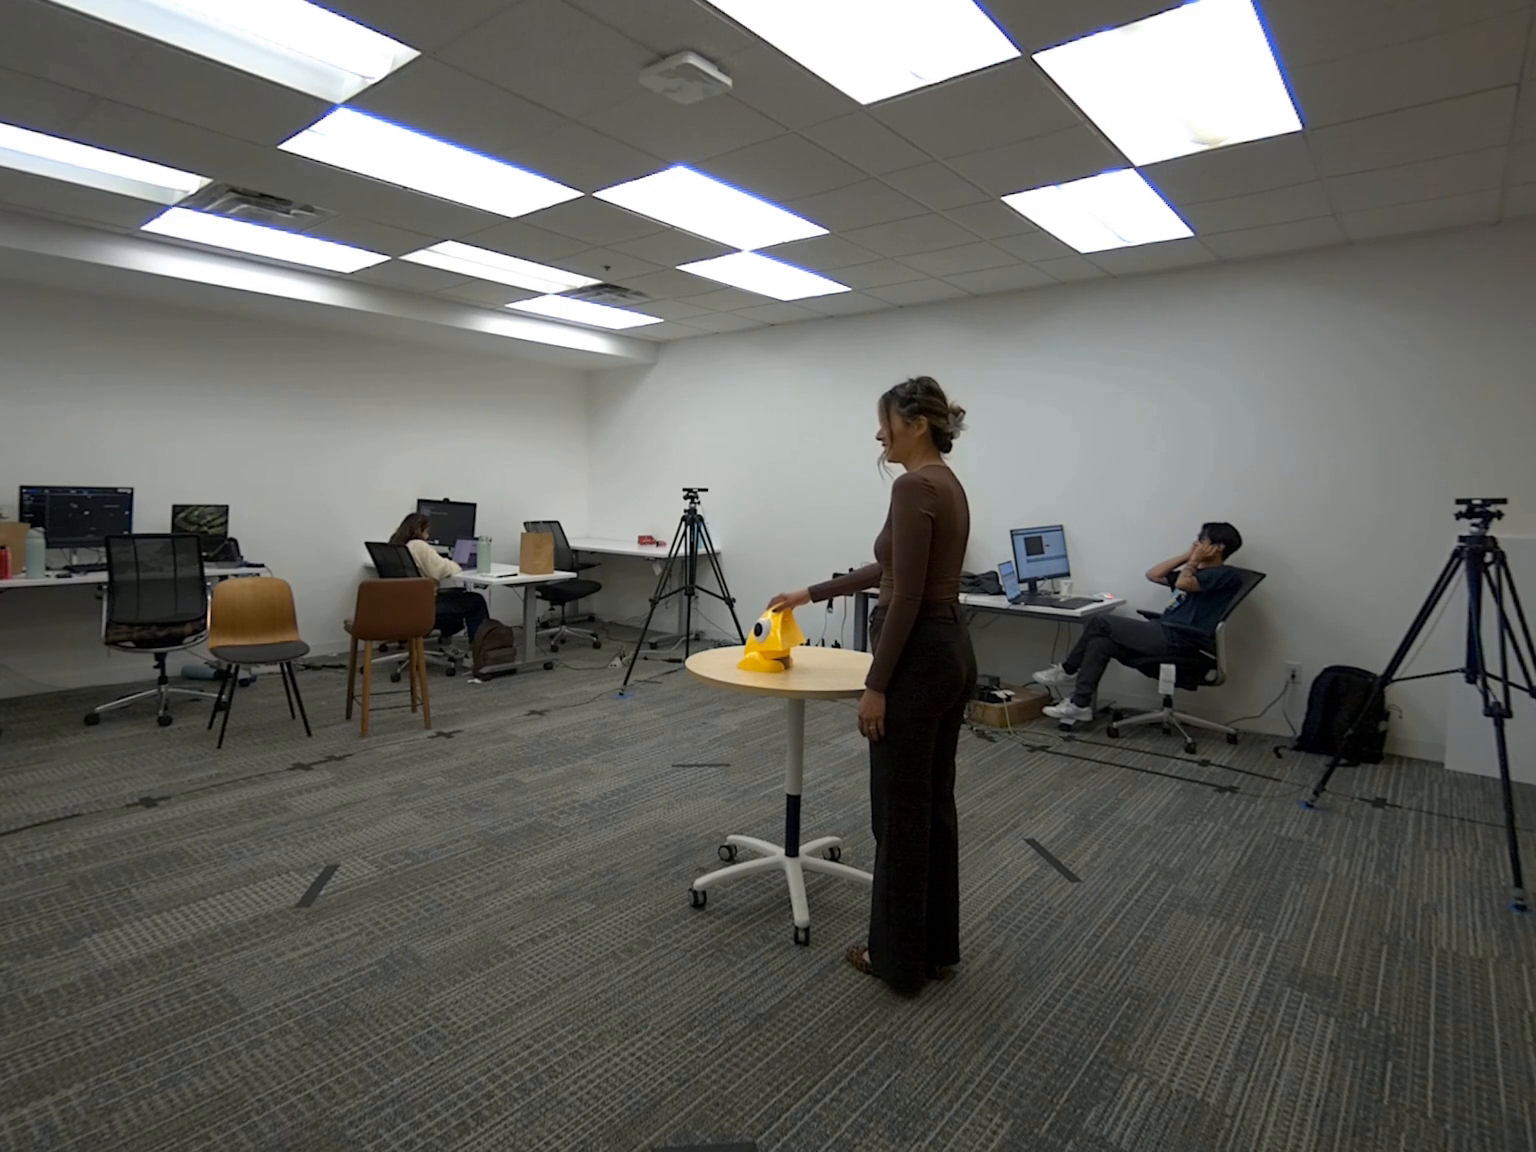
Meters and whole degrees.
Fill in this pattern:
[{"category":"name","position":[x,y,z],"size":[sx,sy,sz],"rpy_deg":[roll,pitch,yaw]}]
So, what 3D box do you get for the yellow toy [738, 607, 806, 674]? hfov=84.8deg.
[{"category":"yellow toy","position":[0.000,0.186,2.846],"size":[0.198,0.230,0.200],"rpy_deg":[3,3,26]}]
